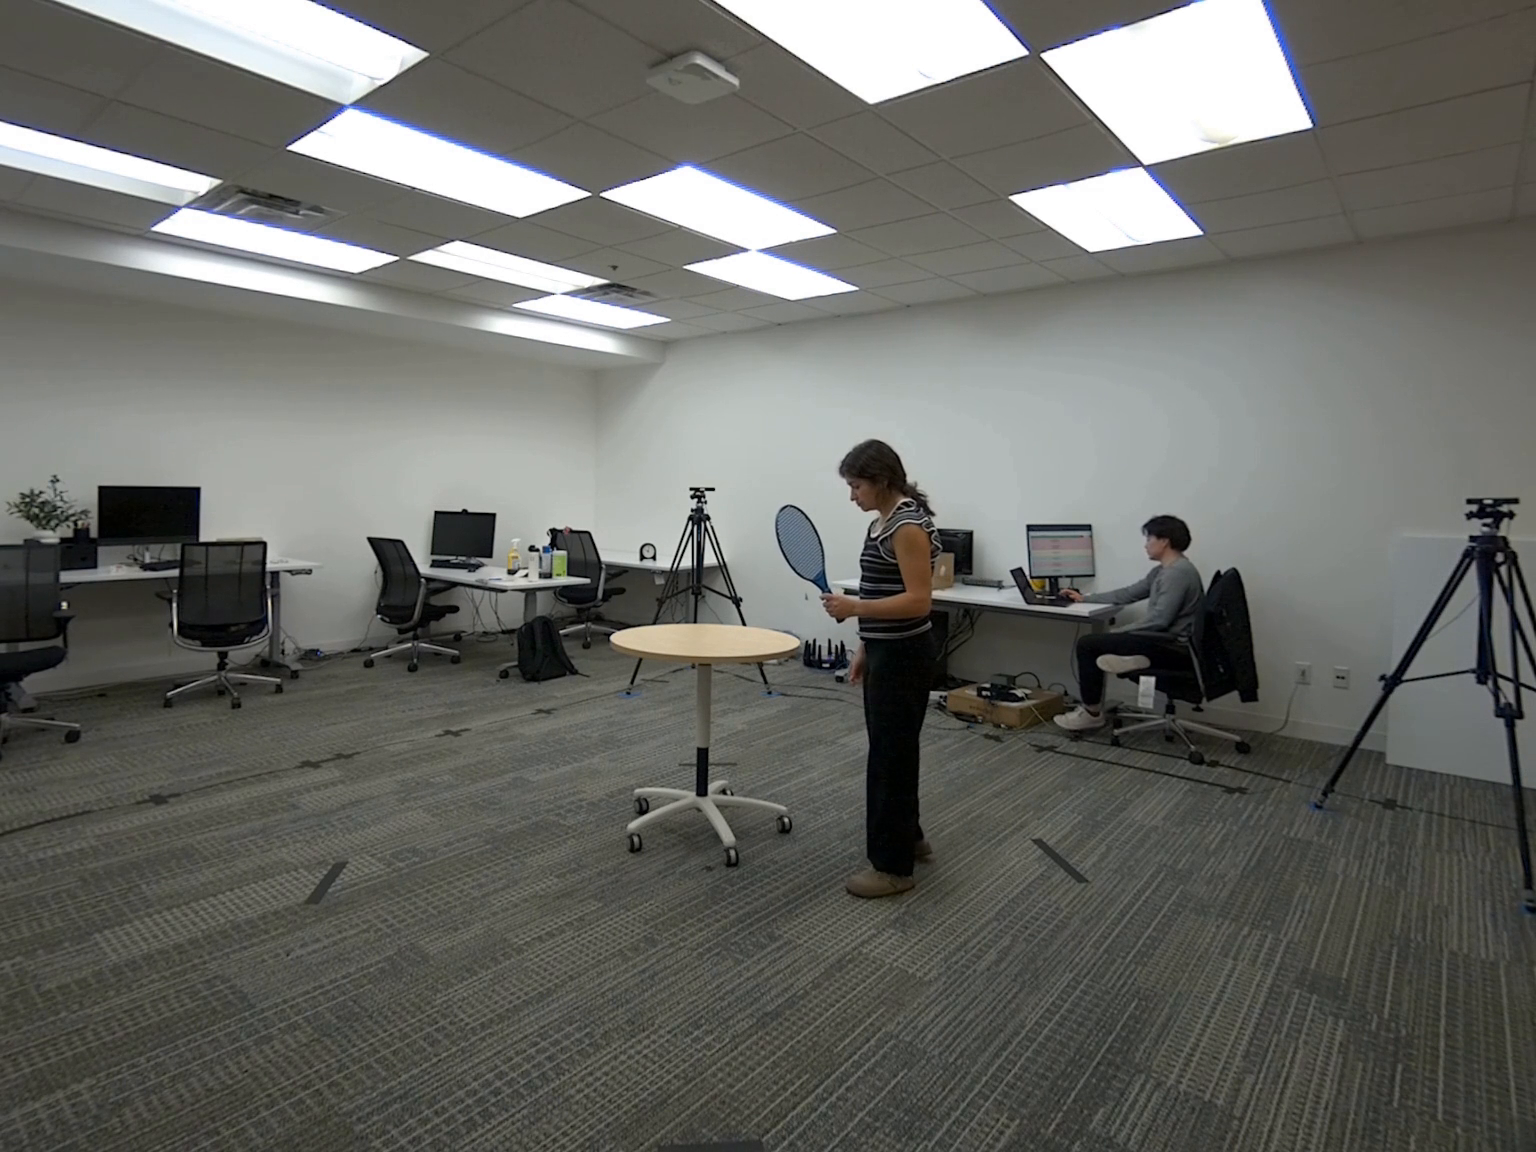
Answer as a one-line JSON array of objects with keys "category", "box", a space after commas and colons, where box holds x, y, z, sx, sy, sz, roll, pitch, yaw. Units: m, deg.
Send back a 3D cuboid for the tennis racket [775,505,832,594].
[{"category": "tennis racket", "box": [0.147, -0.042, 2.809, 0.032, 0.426, 0.213, -19, 17, 40]}]
